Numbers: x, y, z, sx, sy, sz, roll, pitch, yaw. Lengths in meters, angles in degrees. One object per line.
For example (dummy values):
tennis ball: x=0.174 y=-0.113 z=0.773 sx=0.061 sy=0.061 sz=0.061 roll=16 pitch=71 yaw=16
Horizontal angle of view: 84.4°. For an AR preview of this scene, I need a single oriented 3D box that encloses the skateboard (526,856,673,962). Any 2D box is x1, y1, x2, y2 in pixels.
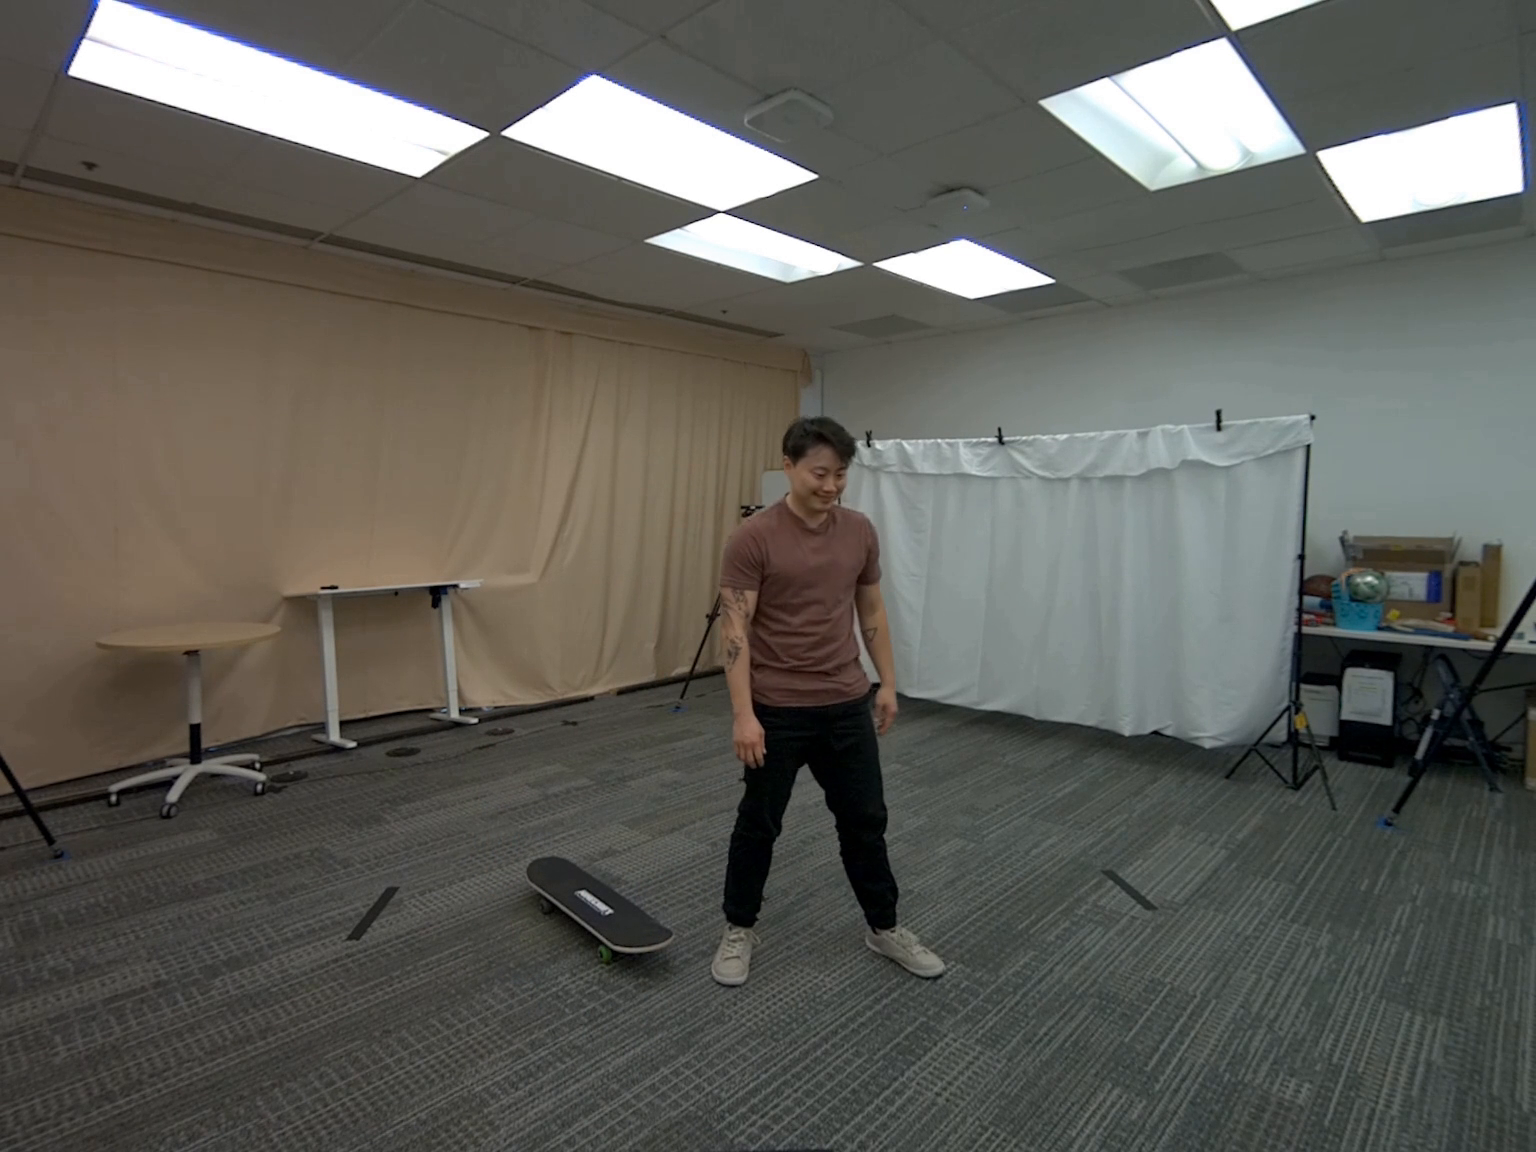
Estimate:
skateboard: x=-0.569 y=1.109 z=2.774 sx=0.187 sy=0.110 sz=0.811 roll=-4 pitch=5 yaw=-40
